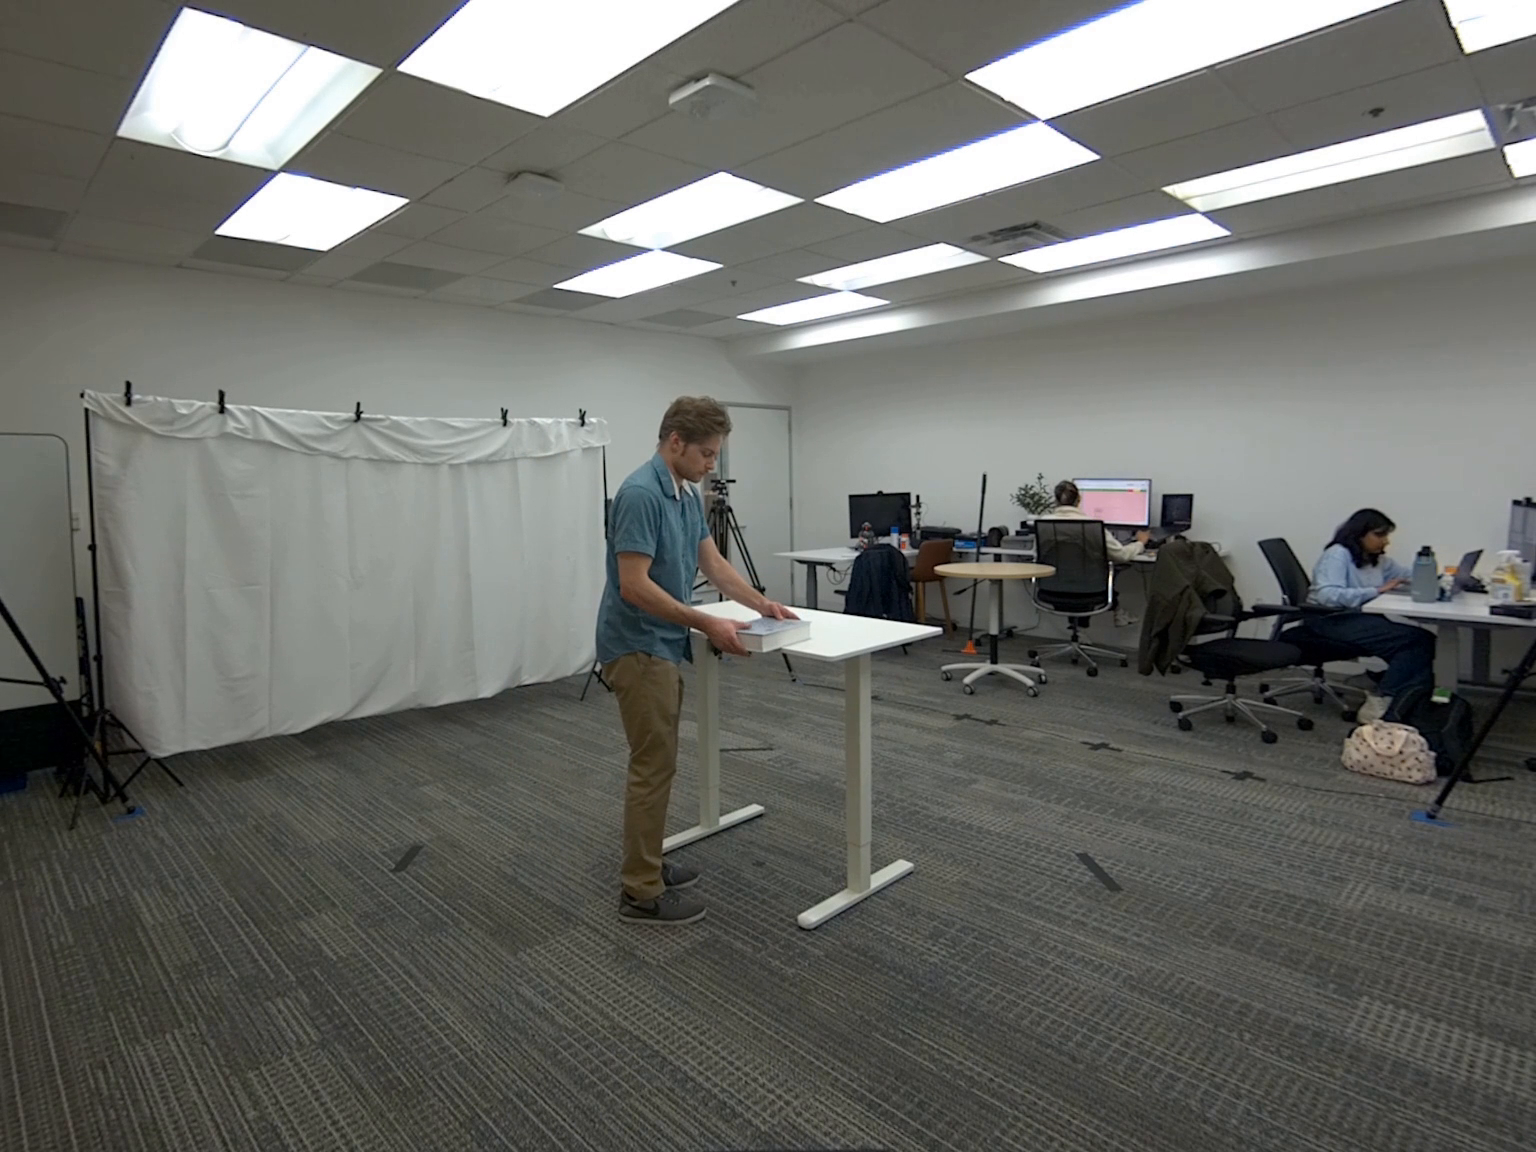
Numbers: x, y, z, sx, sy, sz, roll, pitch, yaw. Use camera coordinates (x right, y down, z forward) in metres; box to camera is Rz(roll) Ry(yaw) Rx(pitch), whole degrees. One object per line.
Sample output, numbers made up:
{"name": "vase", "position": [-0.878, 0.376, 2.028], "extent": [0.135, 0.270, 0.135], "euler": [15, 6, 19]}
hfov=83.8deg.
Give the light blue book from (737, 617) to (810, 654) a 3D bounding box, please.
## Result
{"name": "light blue book", "position": [-0.017, 0.188, 2.701], "extent": [0.197, 0.059, 0.254], "euler": [3, 8, 39]}
